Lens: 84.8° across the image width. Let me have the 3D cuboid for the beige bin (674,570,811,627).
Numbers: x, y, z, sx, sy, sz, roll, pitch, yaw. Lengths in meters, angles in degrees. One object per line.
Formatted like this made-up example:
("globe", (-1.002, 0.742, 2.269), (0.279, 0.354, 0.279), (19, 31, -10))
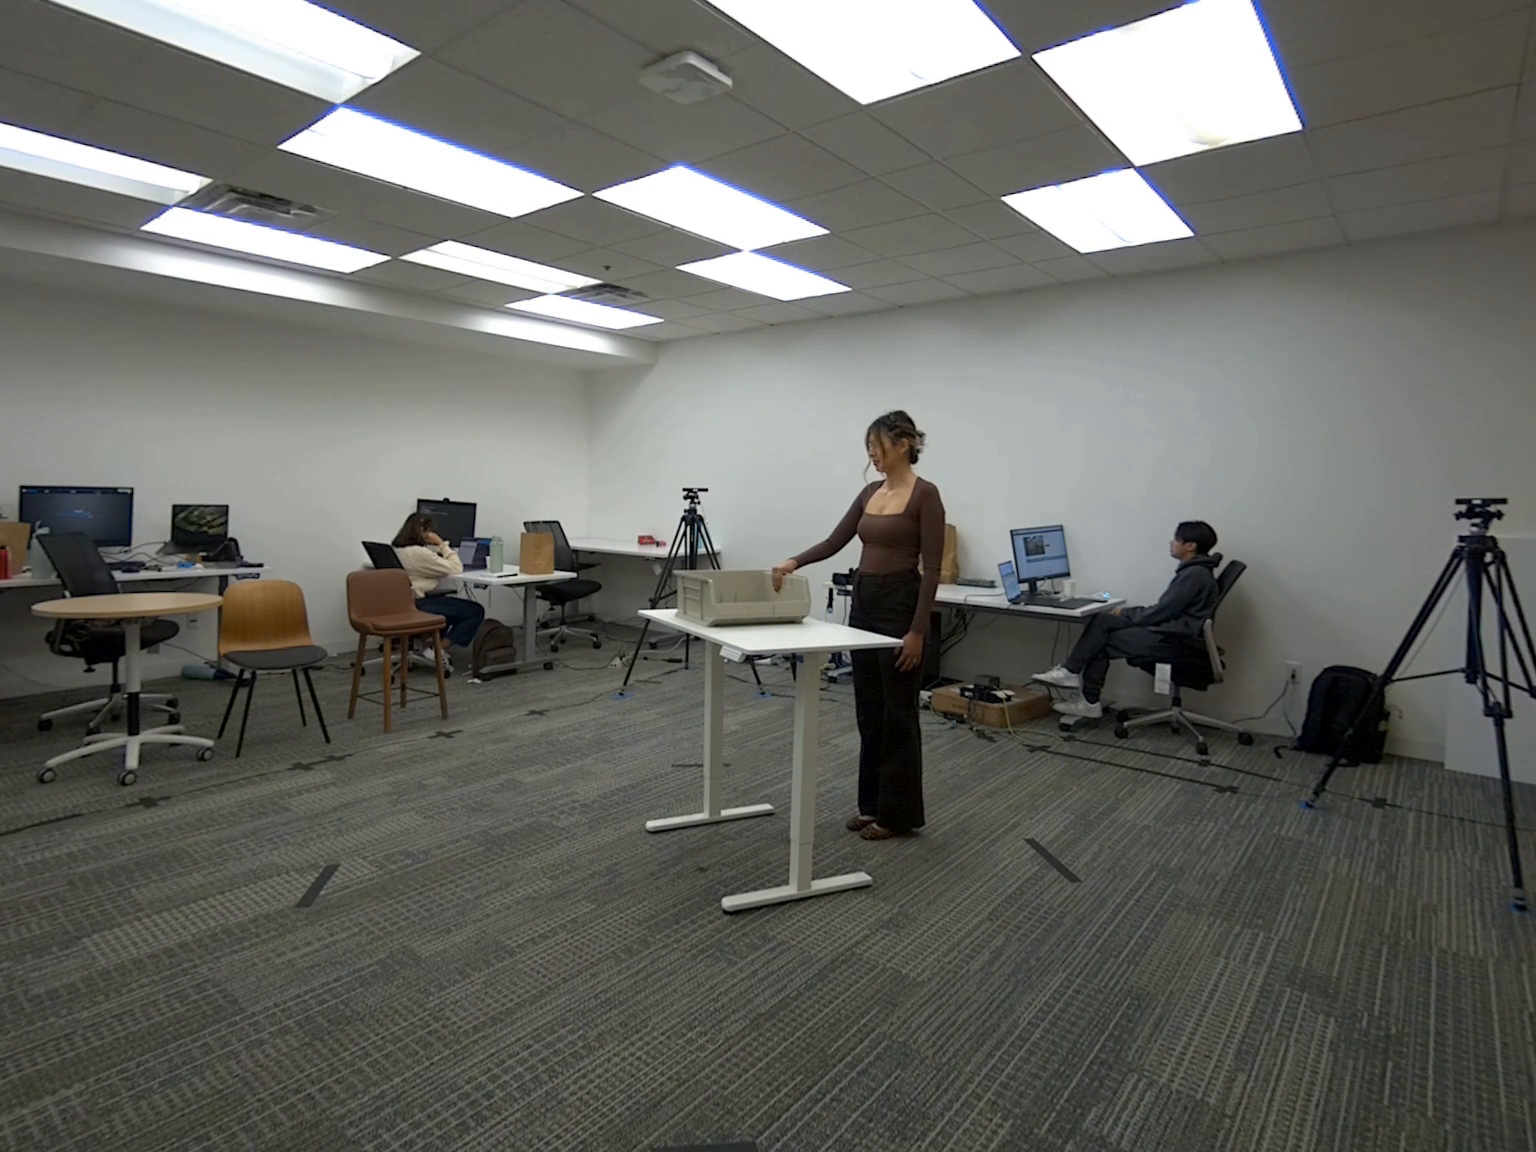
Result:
("beige bin", (-0.113, 0.081, 3.310), (0.412, 0.188, 0.388), (-2, 5, -27))
